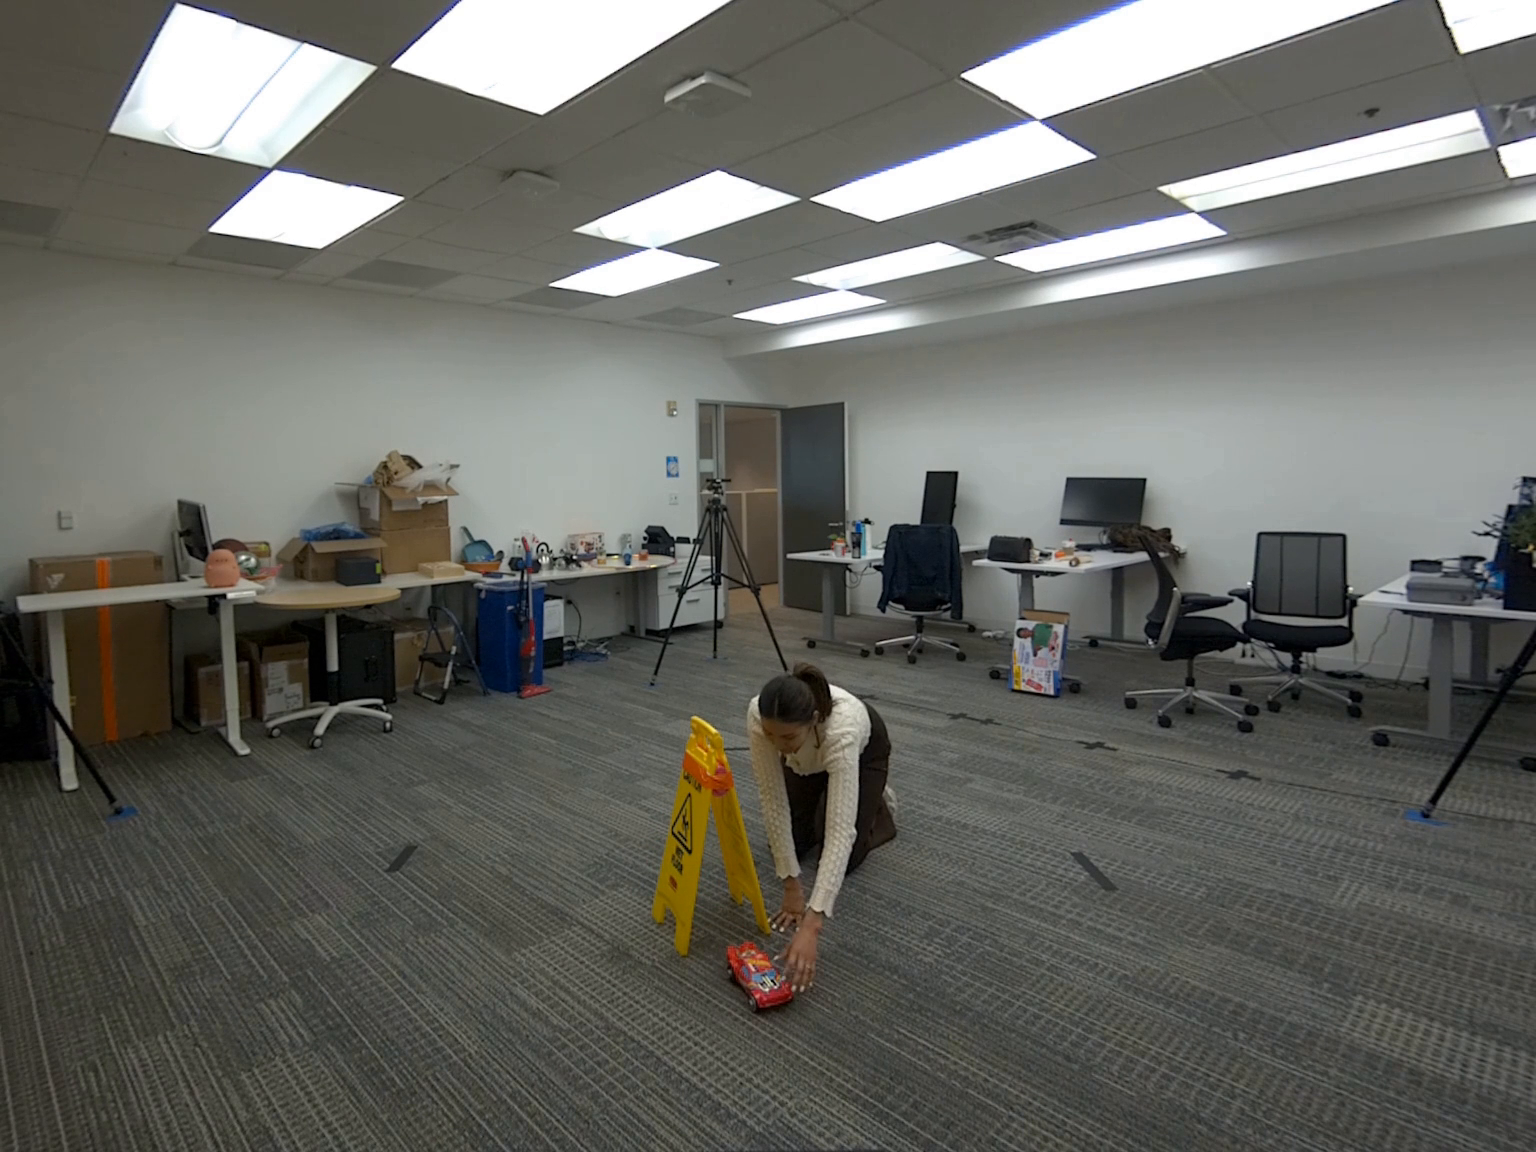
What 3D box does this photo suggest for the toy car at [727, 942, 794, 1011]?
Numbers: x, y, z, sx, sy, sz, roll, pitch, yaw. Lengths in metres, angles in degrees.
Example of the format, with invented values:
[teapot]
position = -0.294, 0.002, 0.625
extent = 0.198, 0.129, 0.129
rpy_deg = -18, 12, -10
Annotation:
[toy car]
position = -0.030, 1.108, 2.350
extent = 0.128, 0.082, 0.263
rpy_deg = -6, 19, -21
